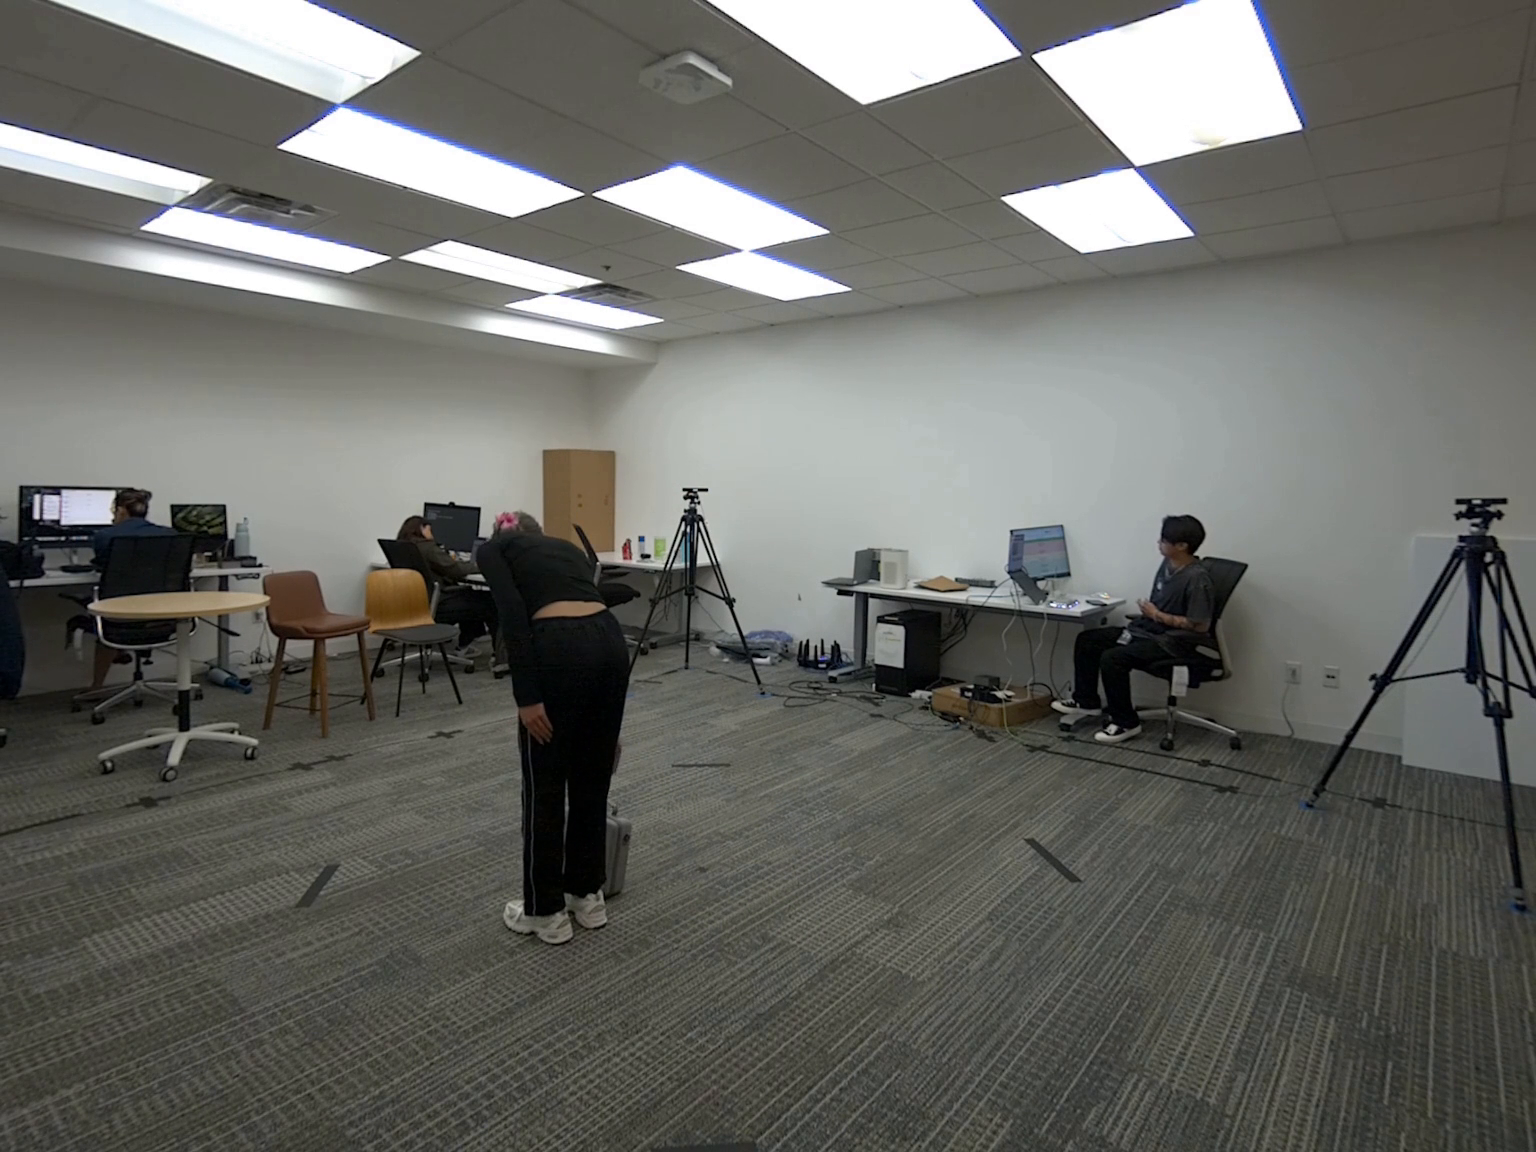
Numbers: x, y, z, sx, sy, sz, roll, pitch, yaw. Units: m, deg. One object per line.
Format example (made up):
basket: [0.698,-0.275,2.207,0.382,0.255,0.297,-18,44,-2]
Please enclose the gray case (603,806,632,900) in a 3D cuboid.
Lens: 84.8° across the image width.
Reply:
gray case: [-0.614,0.942,2.964,0.265,0.262,0.100,3,-7,37]
